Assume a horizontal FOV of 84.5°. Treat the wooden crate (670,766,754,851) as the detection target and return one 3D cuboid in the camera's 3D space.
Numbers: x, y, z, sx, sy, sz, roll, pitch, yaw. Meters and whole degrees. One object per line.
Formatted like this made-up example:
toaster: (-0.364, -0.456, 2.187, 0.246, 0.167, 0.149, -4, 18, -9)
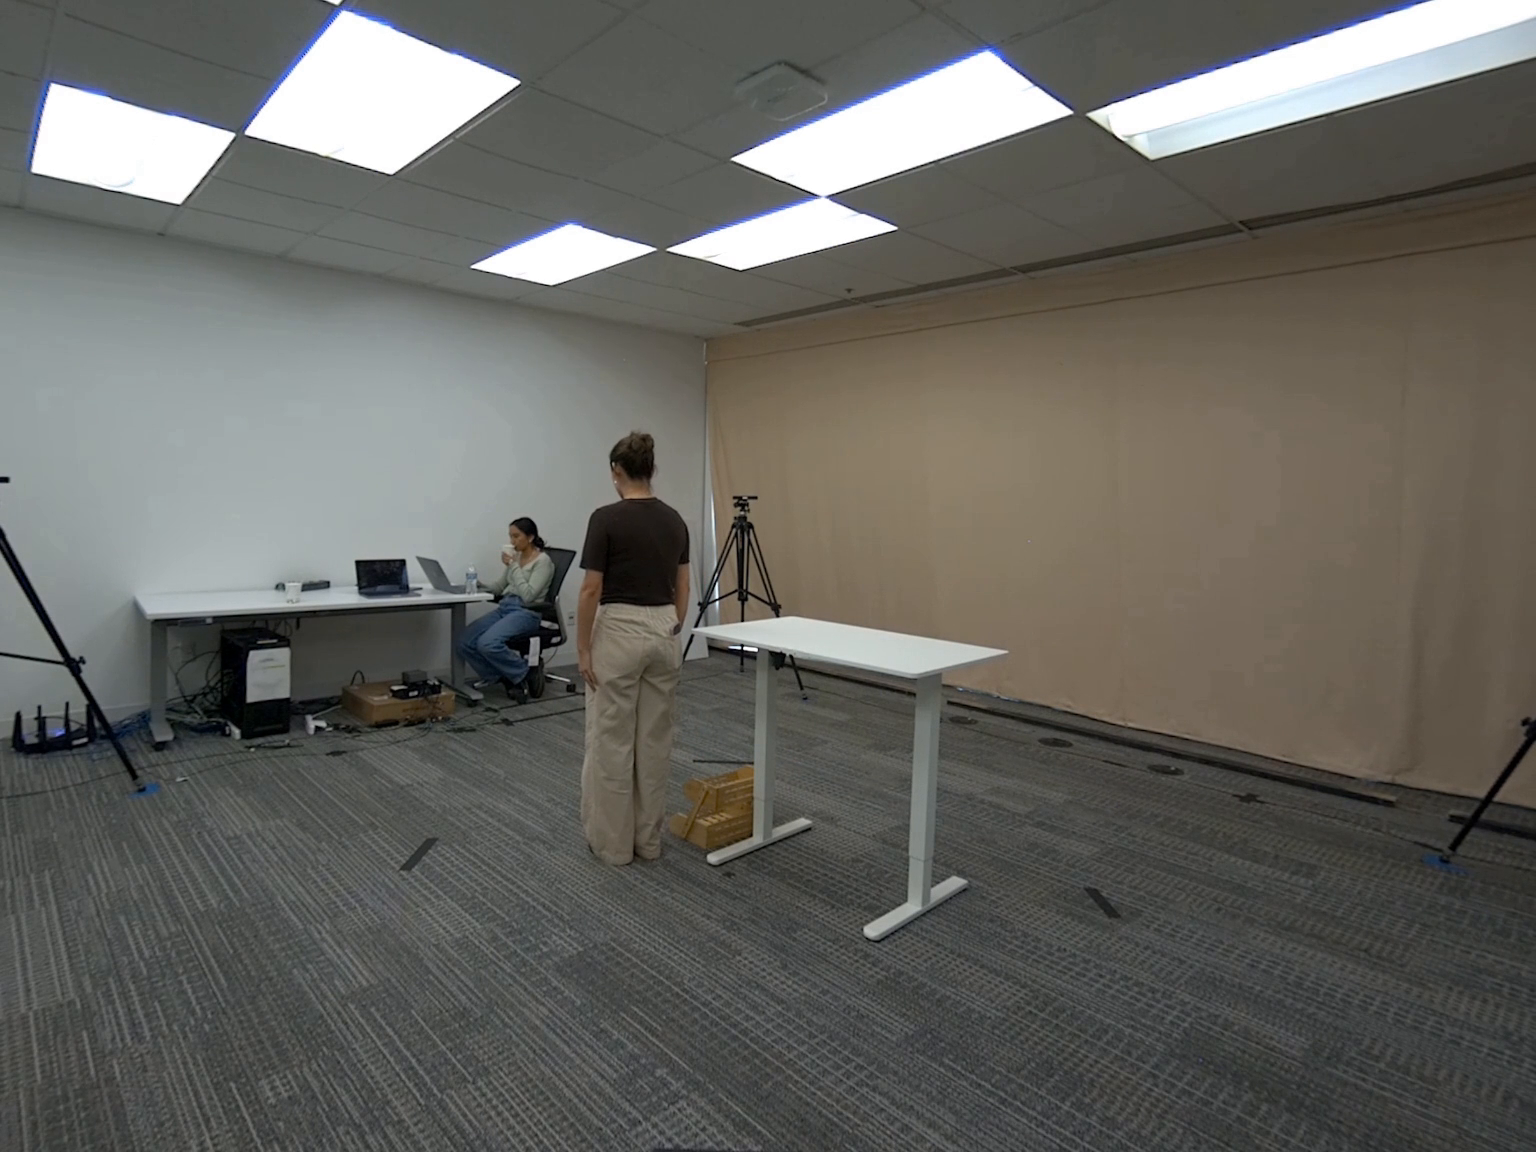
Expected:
wooden crate: (-0.212, 0.934, 3.487, 0.317, 0.272, 0.310, -2, 6, -44)
